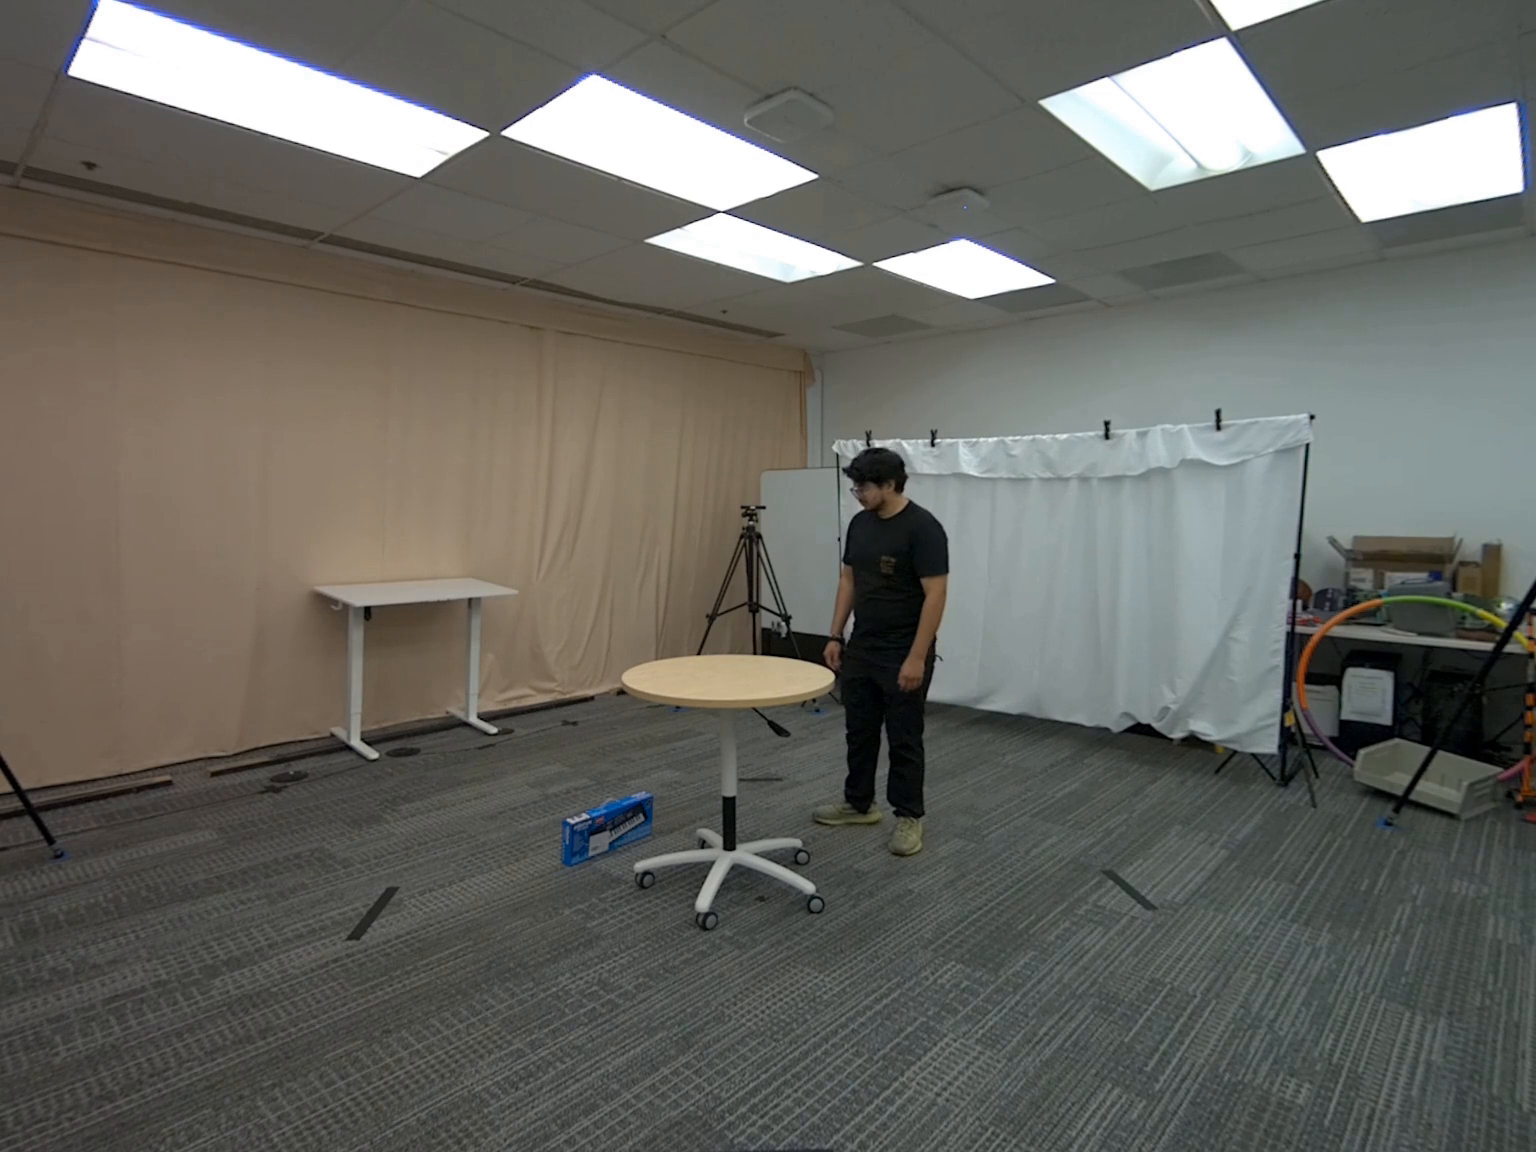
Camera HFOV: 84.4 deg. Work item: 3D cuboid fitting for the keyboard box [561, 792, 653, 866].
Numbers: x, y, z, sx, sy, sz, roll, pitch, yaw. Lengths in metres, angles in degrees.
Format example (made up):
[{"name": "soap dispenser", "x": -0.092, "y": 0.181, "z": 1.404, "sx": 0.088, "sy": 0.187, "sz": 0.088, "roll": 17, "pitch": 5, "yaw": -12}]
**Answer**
[{"name": "keyboard box", "x": -0.655, "y": 1.029, "z": 3.437, "sx": 0.061, "sy": 0.175, "sz": 0.424, "roll": 9, "pitch": 10, "yaw": 39}]
